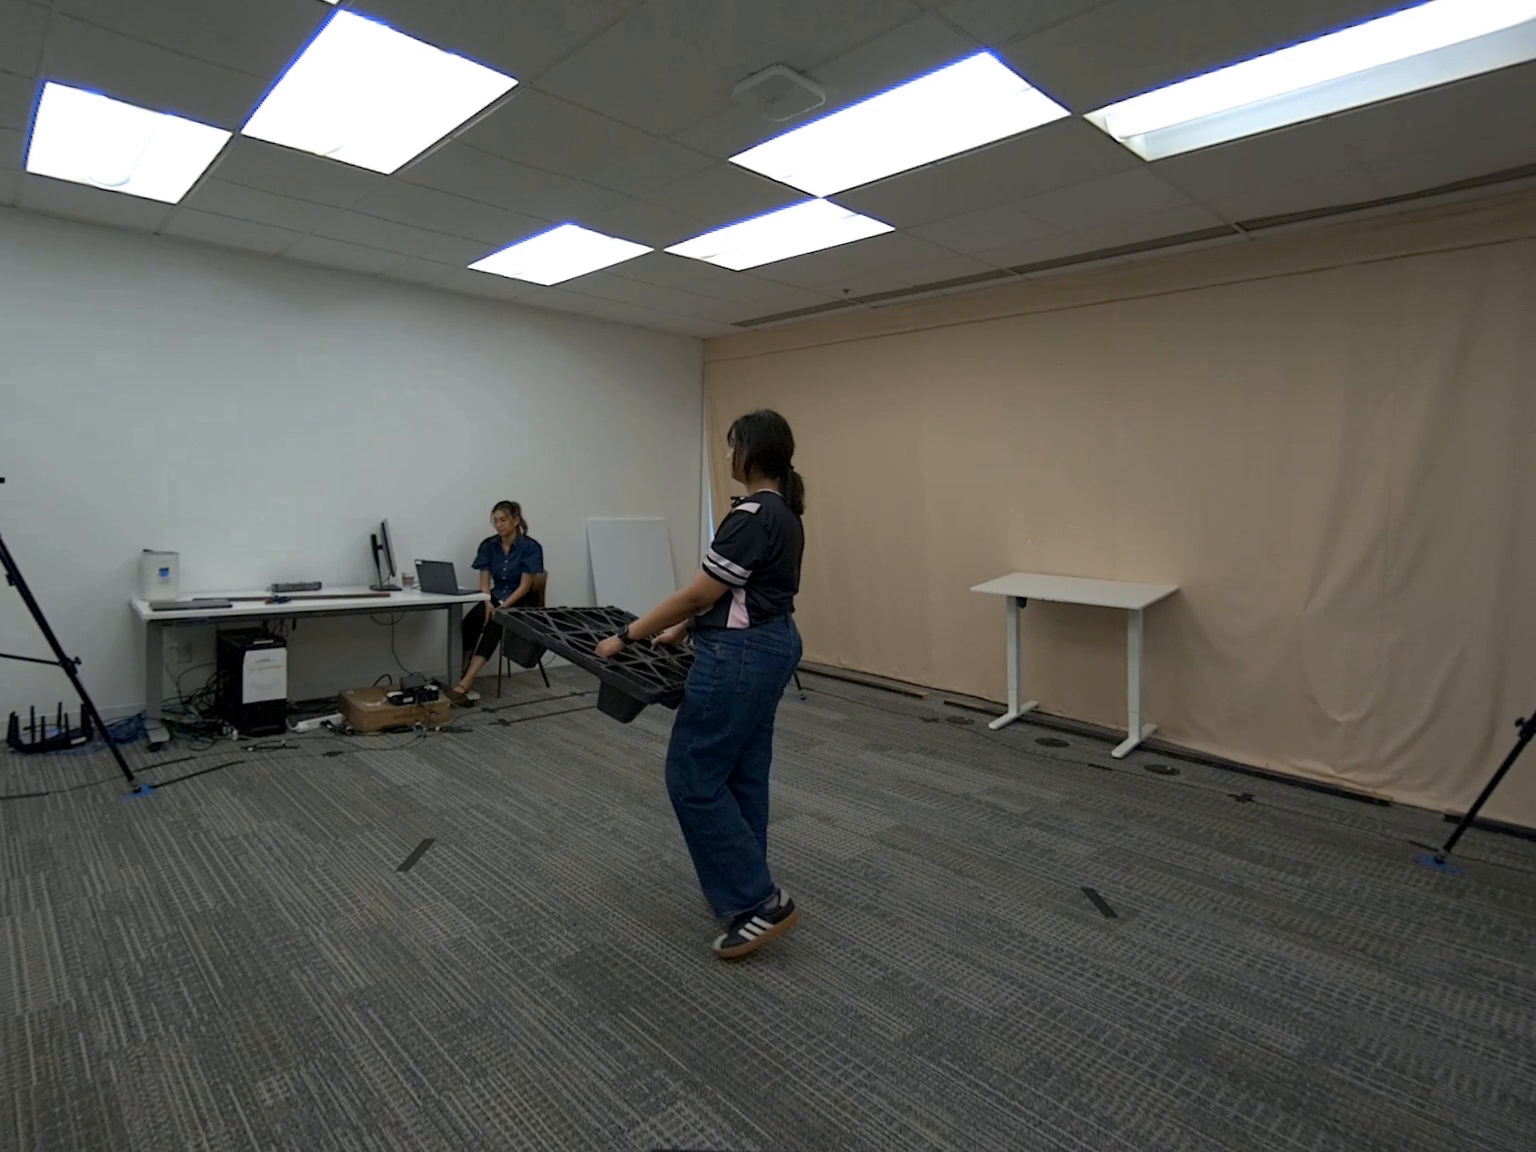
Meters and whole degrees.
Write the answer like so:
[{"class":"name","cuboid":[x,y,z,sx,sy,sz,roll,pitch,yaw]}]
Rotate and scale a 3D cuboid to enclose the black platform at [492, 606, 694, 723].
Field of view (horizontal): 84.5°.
[{"class":"black platform","cuboid":[-0.504,0.291,2.854,0.617,0.143,0.791,24,6,19]}]
